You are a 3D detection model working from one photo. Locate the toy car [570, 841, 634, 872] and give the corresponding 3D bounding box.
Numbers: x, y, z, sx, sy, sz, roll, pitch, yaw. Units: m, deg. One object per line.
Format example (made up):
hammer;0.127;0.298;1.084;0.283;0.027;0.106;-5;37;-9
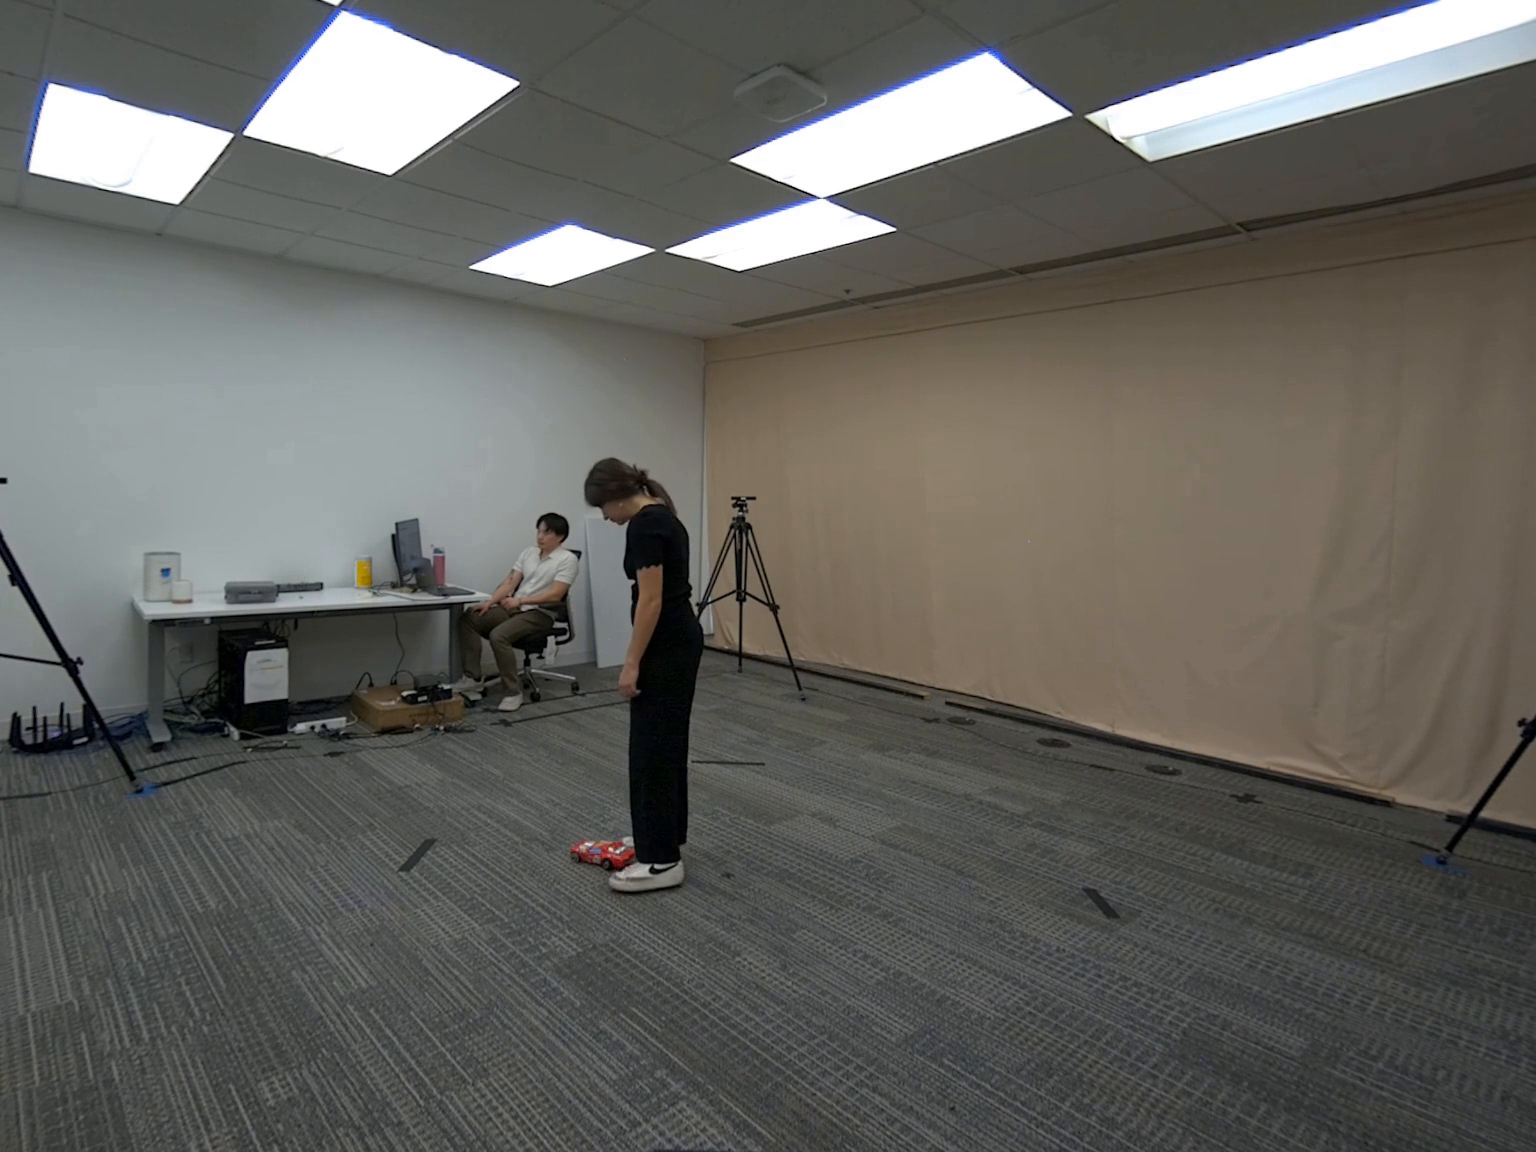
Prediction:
toy car;-0.621;1.049;3.187;0.259;0.083;0.128;-7;1;26
